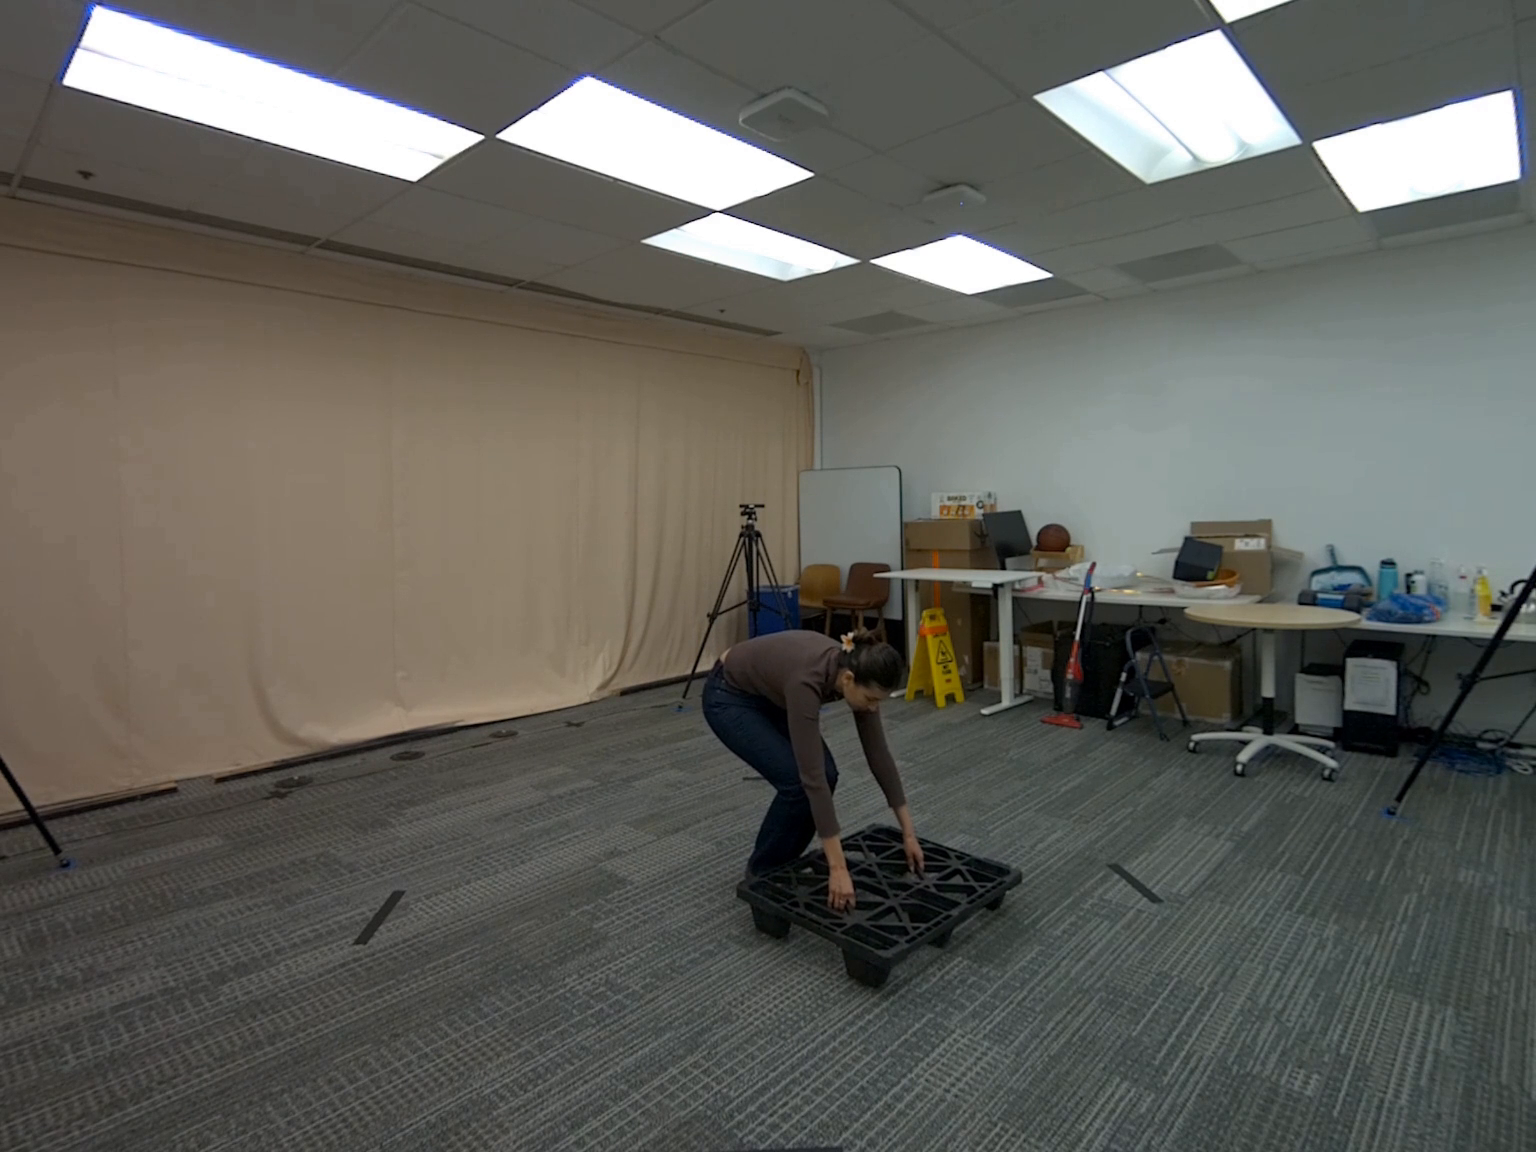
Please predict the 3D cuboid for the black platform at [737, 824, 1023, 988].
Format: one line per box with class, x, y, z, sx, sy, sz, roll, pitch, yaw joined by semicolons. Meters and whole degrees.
black platform;0.379;1.070;2.793;0.625;0.143;0.781;4;6;44
